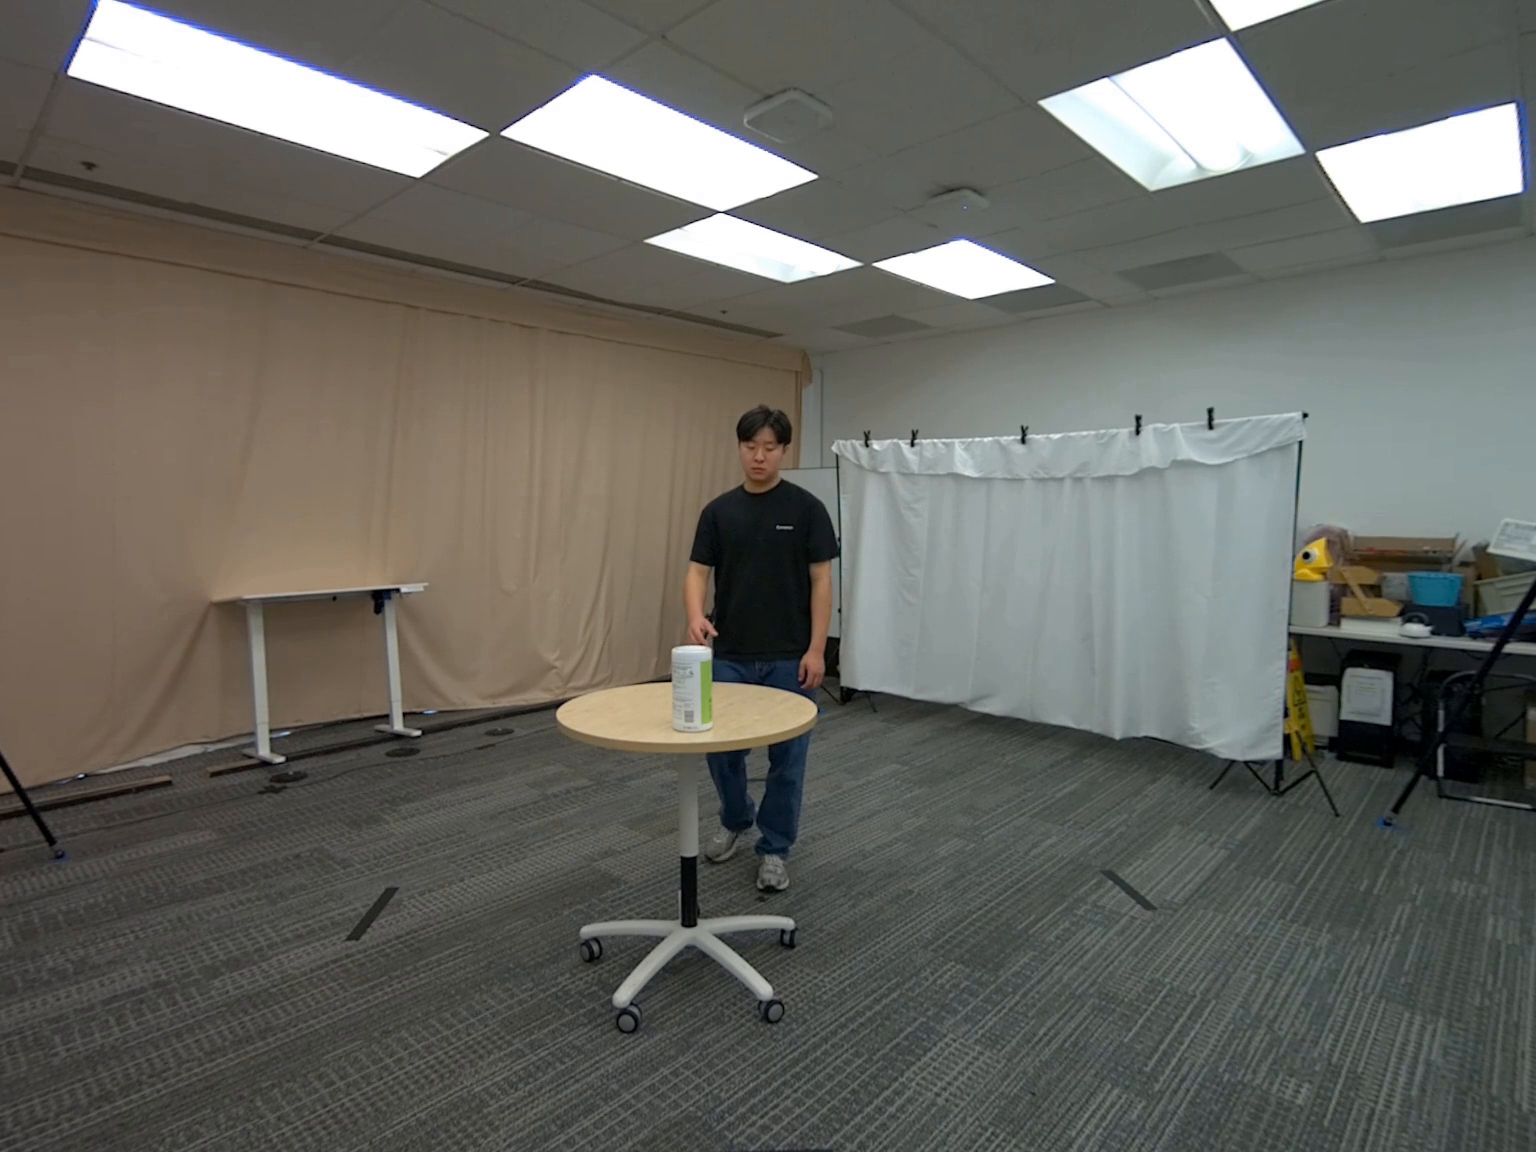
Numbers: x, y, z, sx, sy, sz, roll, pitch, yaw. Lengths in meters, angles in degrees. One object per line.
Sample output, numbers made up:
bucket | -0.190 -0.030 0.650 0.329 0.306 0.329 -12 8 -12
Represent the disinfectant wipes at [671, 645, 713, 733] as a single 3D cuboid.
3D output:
disinfectant wipes | -0.199 0.302 2.256 0.118 0.217 0.118 -3 3 -2
